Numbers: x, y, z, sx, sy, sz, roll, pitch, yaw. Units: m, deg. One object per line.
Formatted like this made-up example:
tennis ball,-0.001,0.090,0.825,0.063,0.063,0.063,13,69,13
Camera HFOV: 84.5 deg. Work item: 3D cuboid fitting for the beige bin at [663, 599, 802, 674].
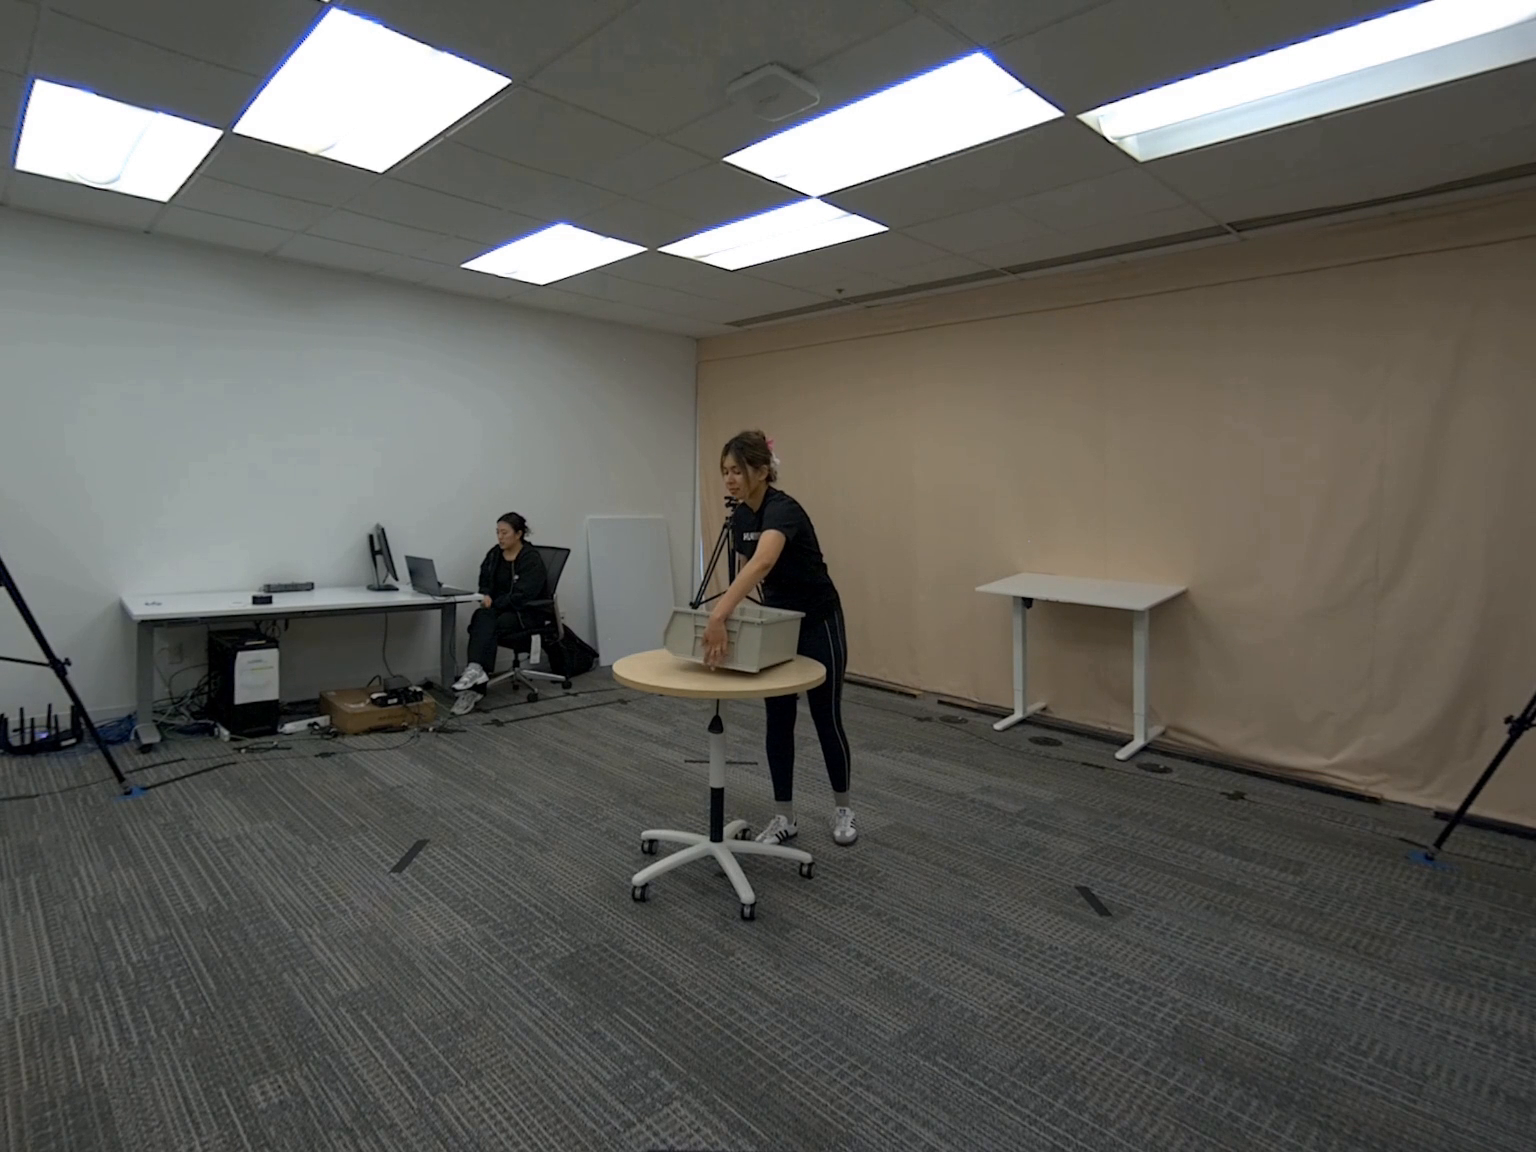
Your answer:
beige bin,-0.122,0.210,3.053,0.385,0.189,0.415,8,3,22
